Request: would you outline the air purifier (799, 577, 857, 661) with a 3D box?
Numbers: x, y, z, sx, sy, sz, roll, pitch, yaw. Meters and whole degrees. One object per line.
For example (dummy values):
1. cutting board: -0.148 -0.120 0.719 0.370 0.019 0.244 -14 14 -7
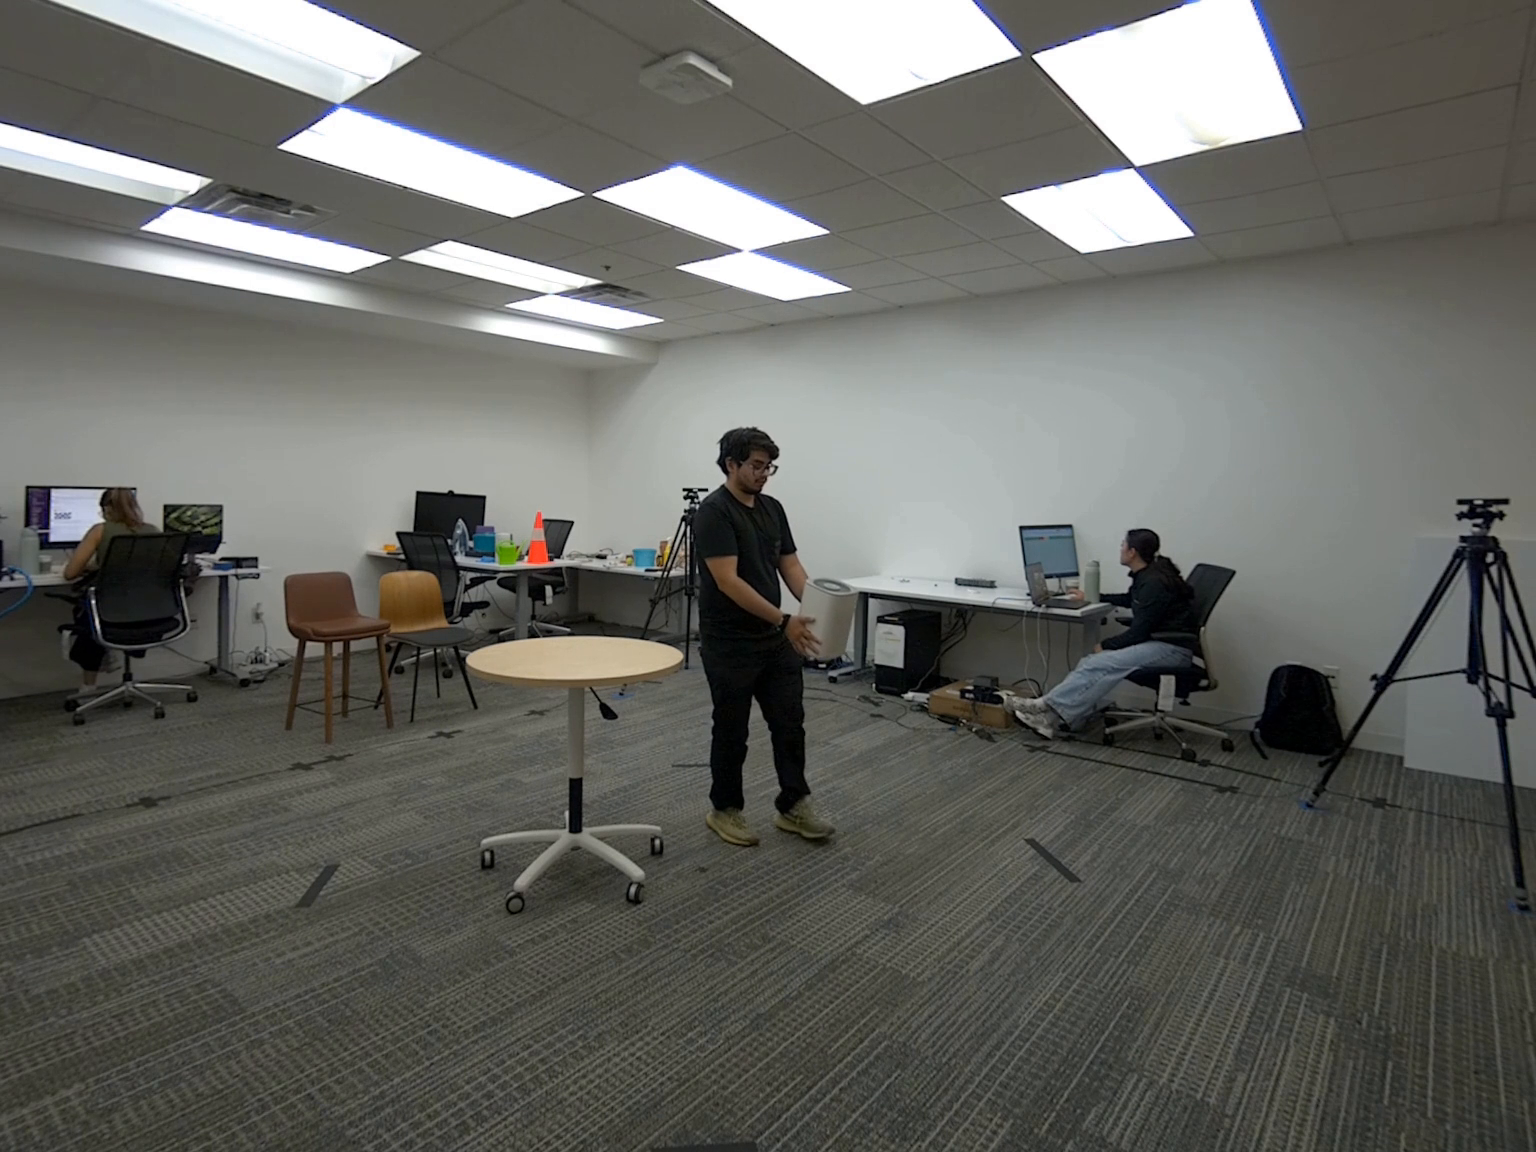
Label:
1. air purifier: 0.208 0.153 3.136 0.166 0.262 0.178 -4 20 -42
